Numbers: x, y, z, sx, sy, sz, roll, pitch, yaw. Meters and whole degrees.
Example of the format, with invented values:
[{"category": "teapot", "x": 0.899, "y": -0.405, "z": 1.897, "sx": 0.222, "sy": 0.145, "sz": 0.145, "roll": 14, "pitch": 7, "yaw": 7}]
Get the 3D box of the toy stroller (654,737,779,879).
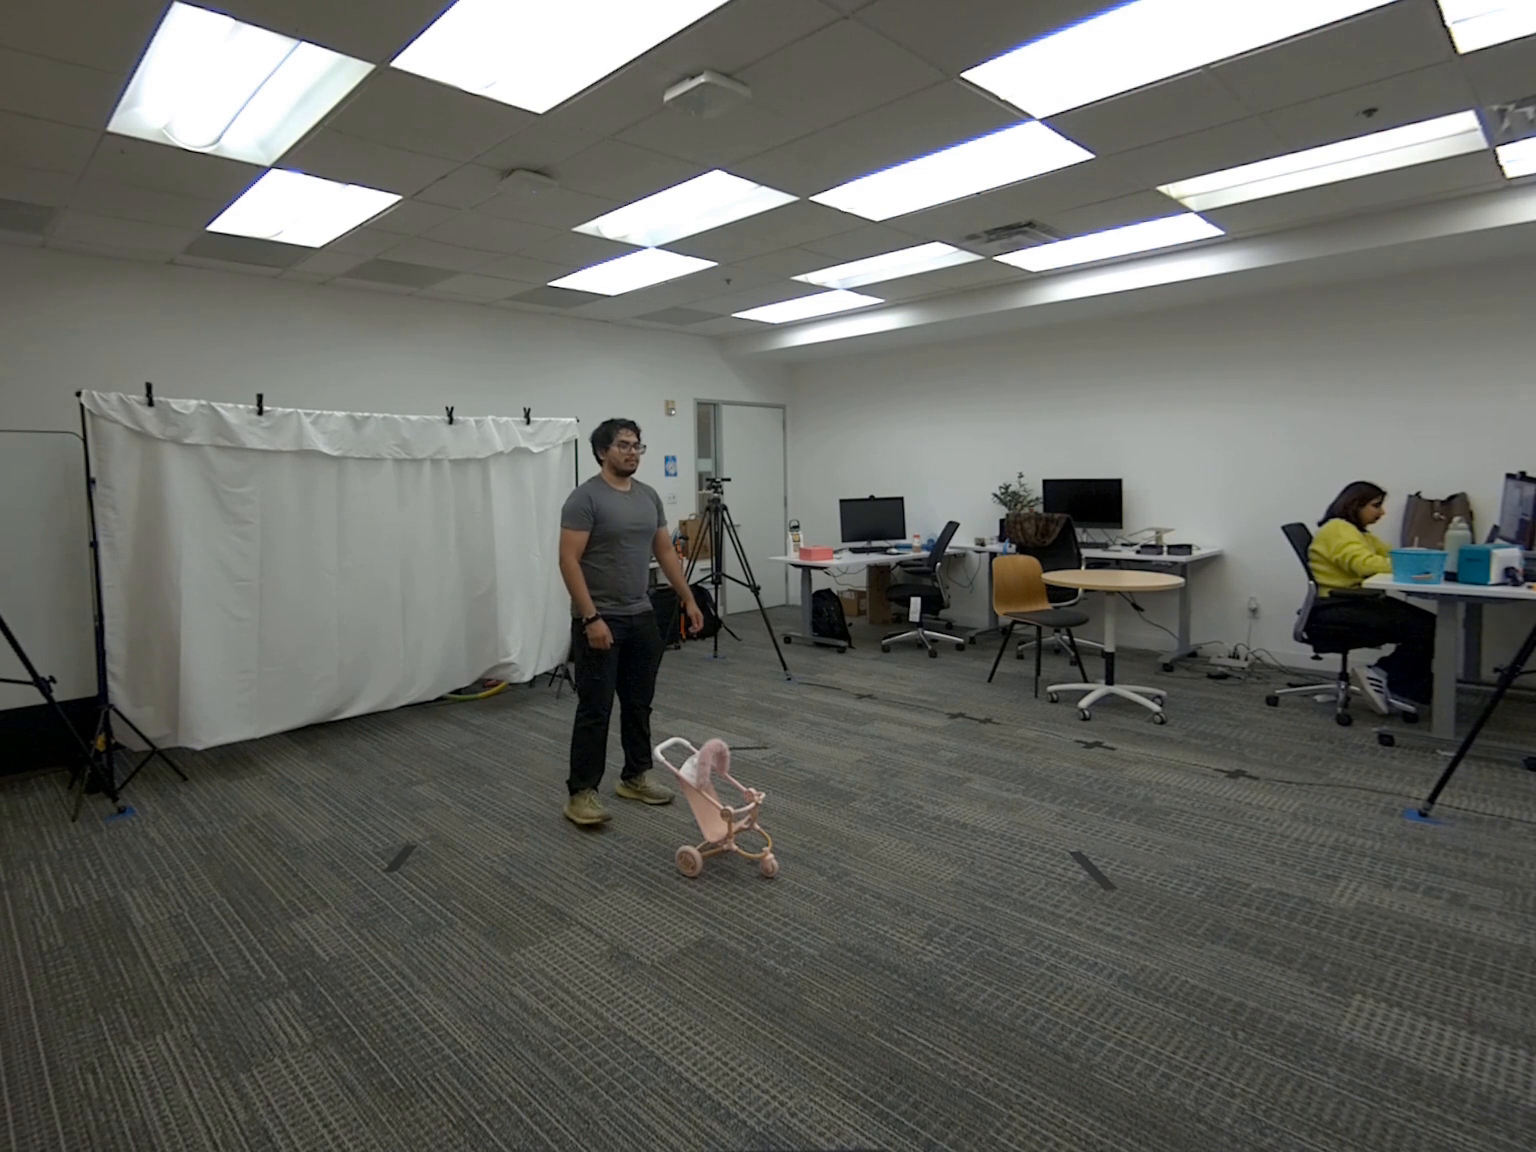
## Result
[{"category": "toy stroller", "x": -0.169, "y": 0.825, "z": 3.071, "sx": 0.347, "sy": 0.538, "sz": 0.275, "roll": -19, "pitch": -6, "yaw": 31}]
